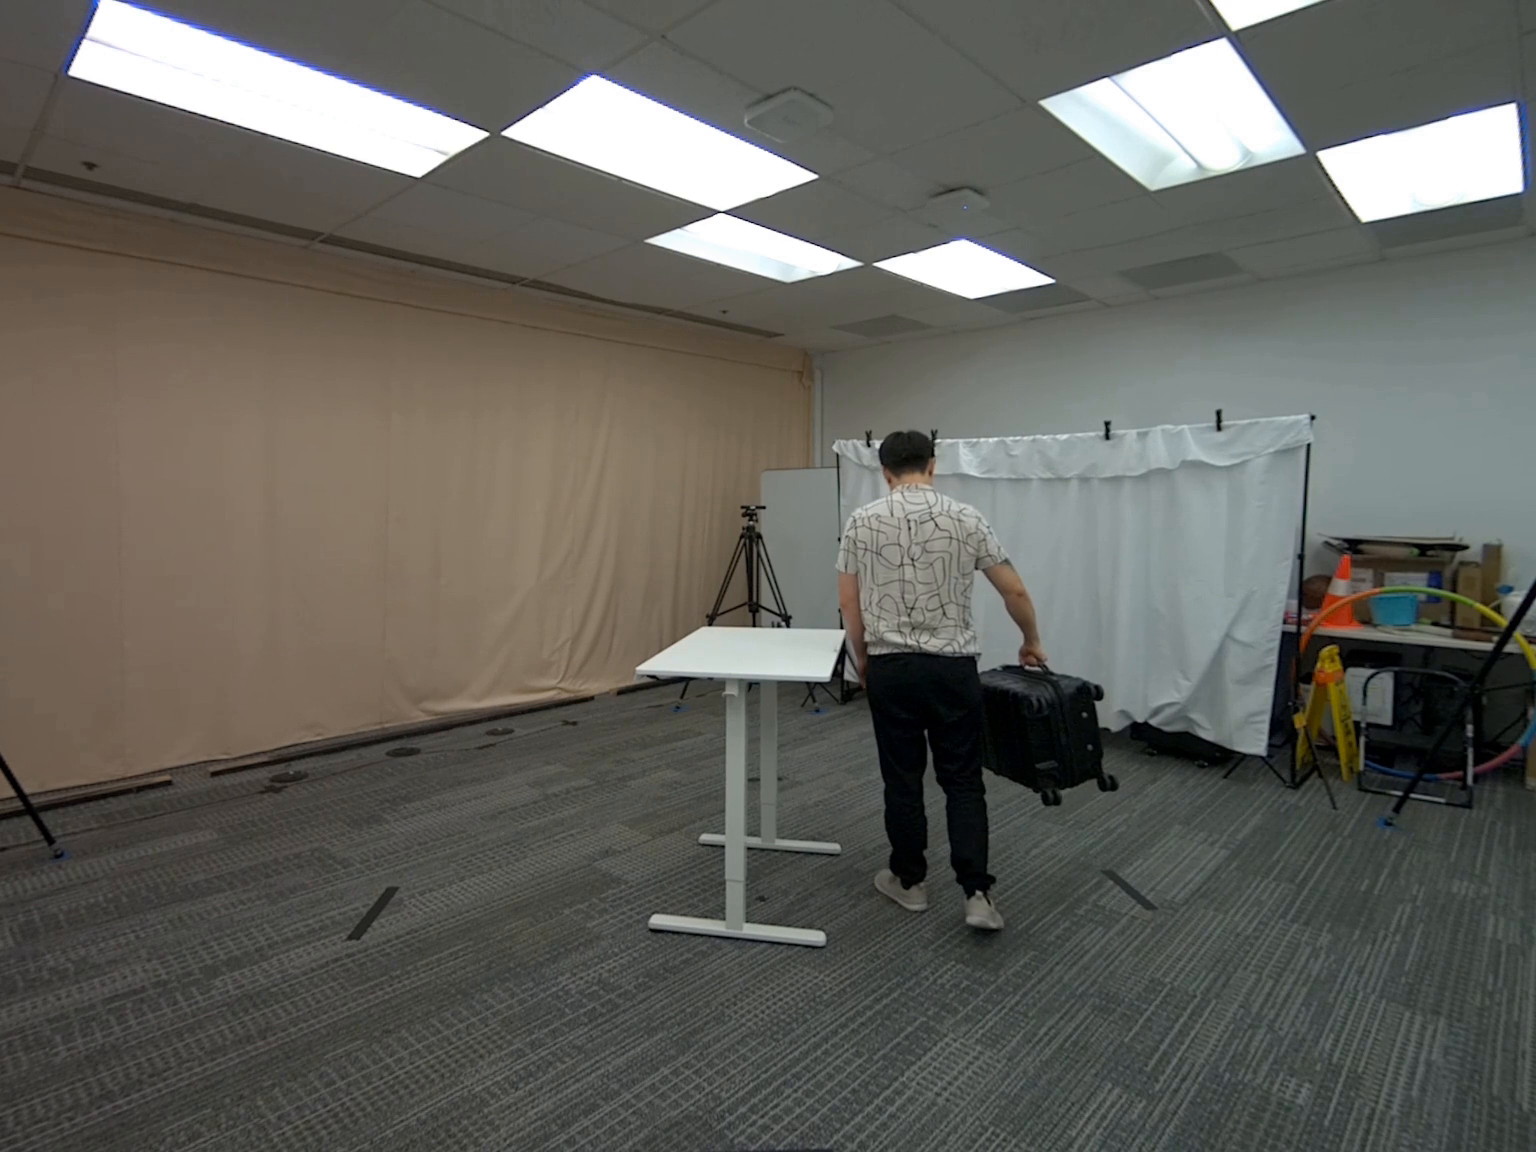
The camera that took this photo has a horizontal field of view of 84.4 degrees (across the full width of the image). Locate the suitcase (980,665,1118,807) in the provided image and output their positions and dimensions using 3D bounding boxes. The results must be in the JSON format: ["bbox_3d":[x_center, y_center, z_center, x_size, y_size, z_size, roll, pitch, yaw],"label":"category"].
[{"bbox_3d":[0.916,0.518,2.927,0.245,0.375,0.557,-9,2,-15],"label":"suitcase"}]
